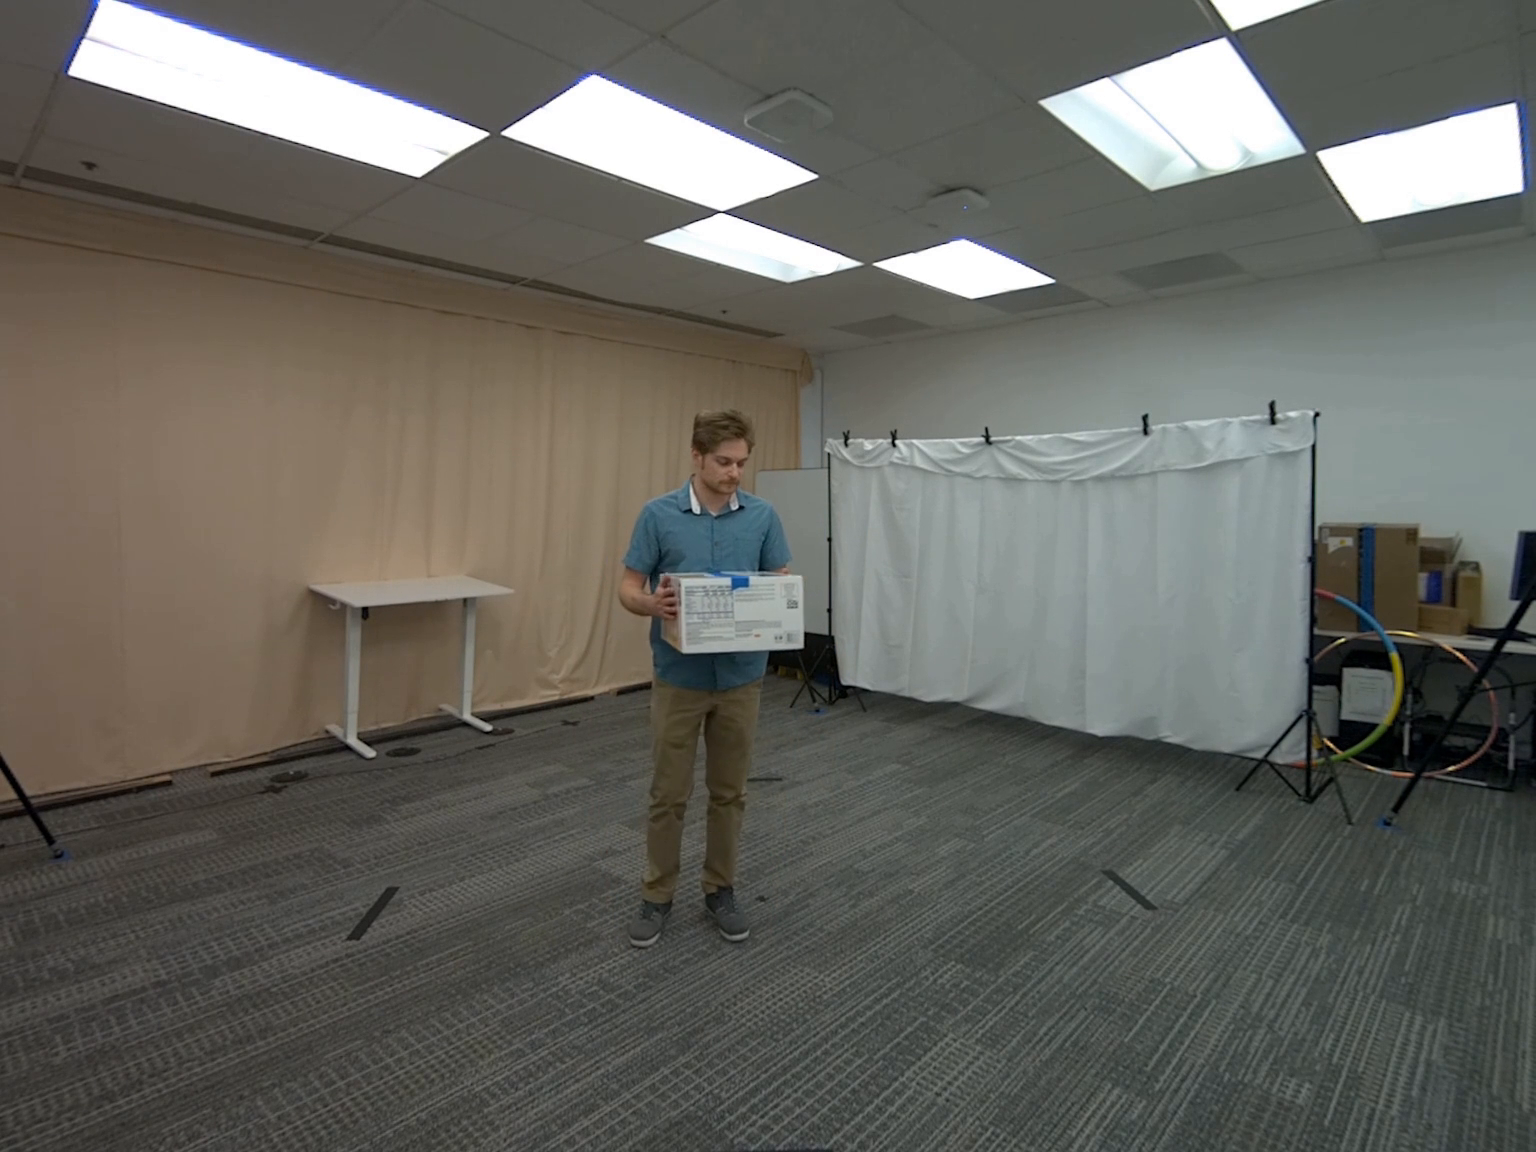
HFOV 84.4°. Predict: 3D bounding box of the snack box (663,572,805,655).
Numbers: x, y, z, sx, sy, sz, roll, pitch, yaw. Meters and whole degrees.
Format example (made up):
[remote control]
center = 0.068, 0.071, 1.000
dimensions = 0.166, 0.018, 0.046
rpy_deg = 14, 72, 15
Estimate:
[snack box]
center = -0.111, 0.100, 2.469
dimensions = 0.336, 0.205, 0.411
rpy_deg = -2, 2, -13
